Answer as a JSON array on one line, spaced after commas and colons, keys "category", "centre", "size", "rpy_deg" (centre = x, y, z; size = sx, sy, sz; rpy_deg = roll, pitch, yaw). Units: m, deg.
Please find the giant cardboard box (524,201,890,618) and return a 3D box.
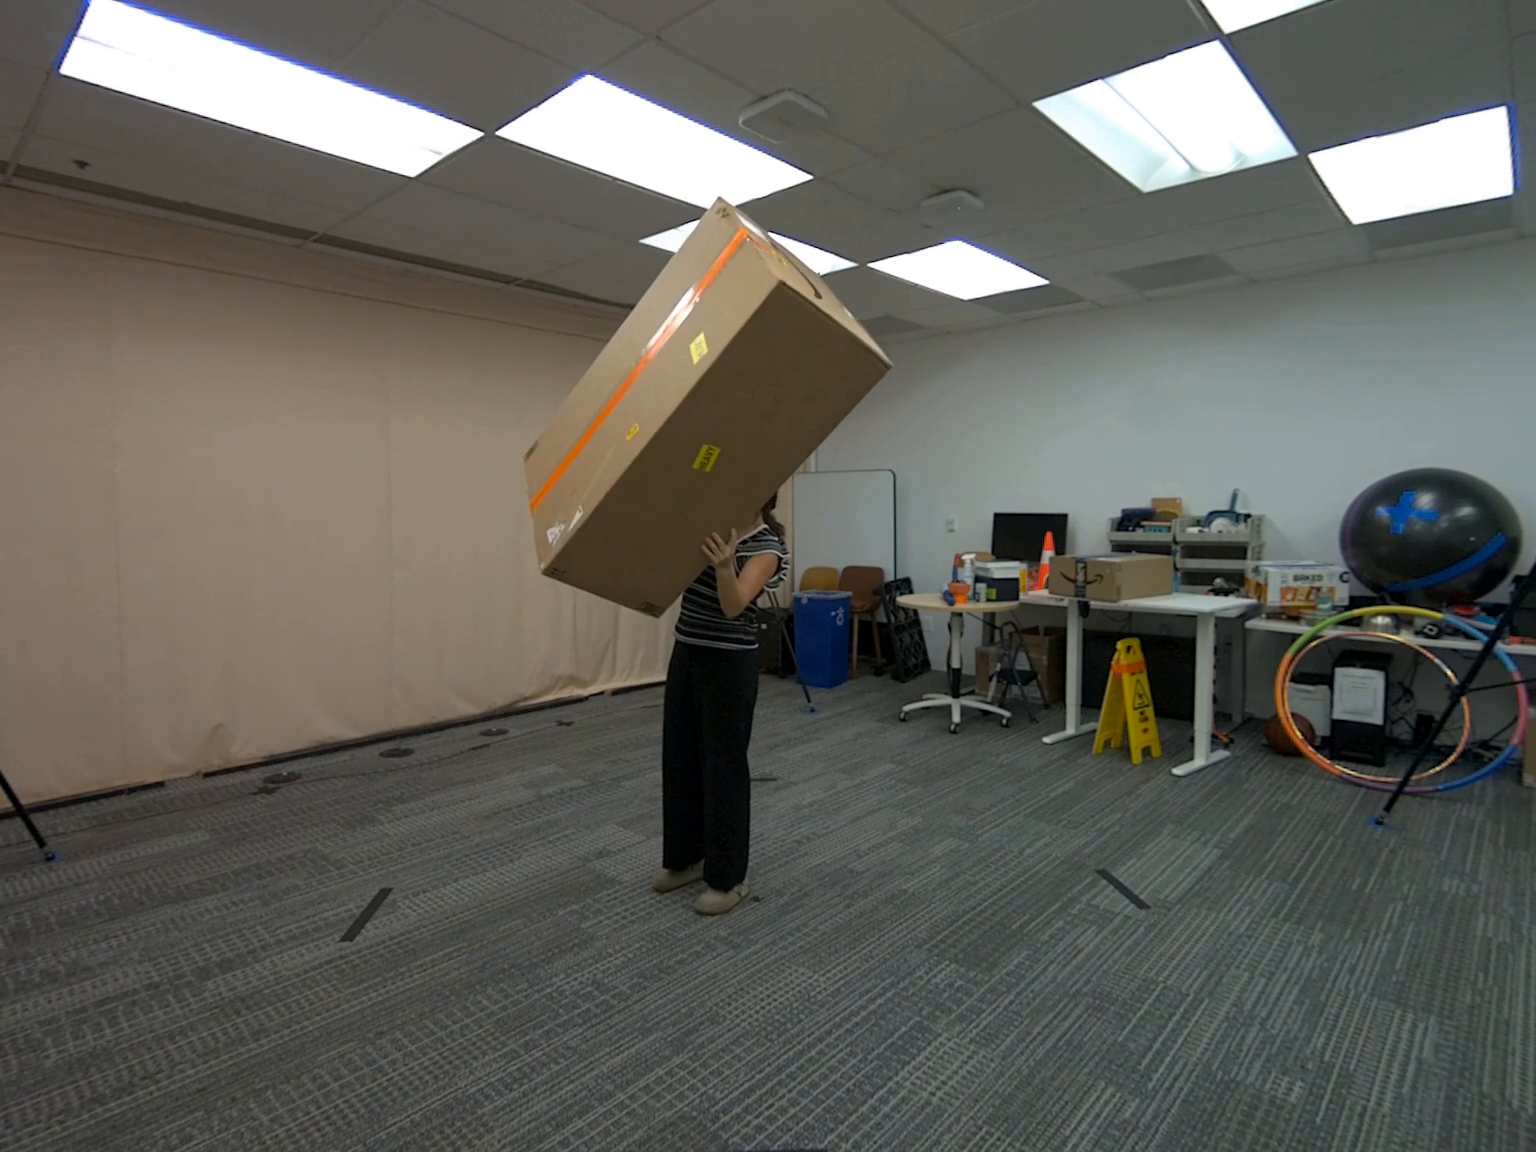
[{"category": "giant cardboard box", "centre": [-0.241, -0.465, 2.457], "size": [0.411, 1.032, 0.595], "rpy_deg": [26, 29, -37]}]
